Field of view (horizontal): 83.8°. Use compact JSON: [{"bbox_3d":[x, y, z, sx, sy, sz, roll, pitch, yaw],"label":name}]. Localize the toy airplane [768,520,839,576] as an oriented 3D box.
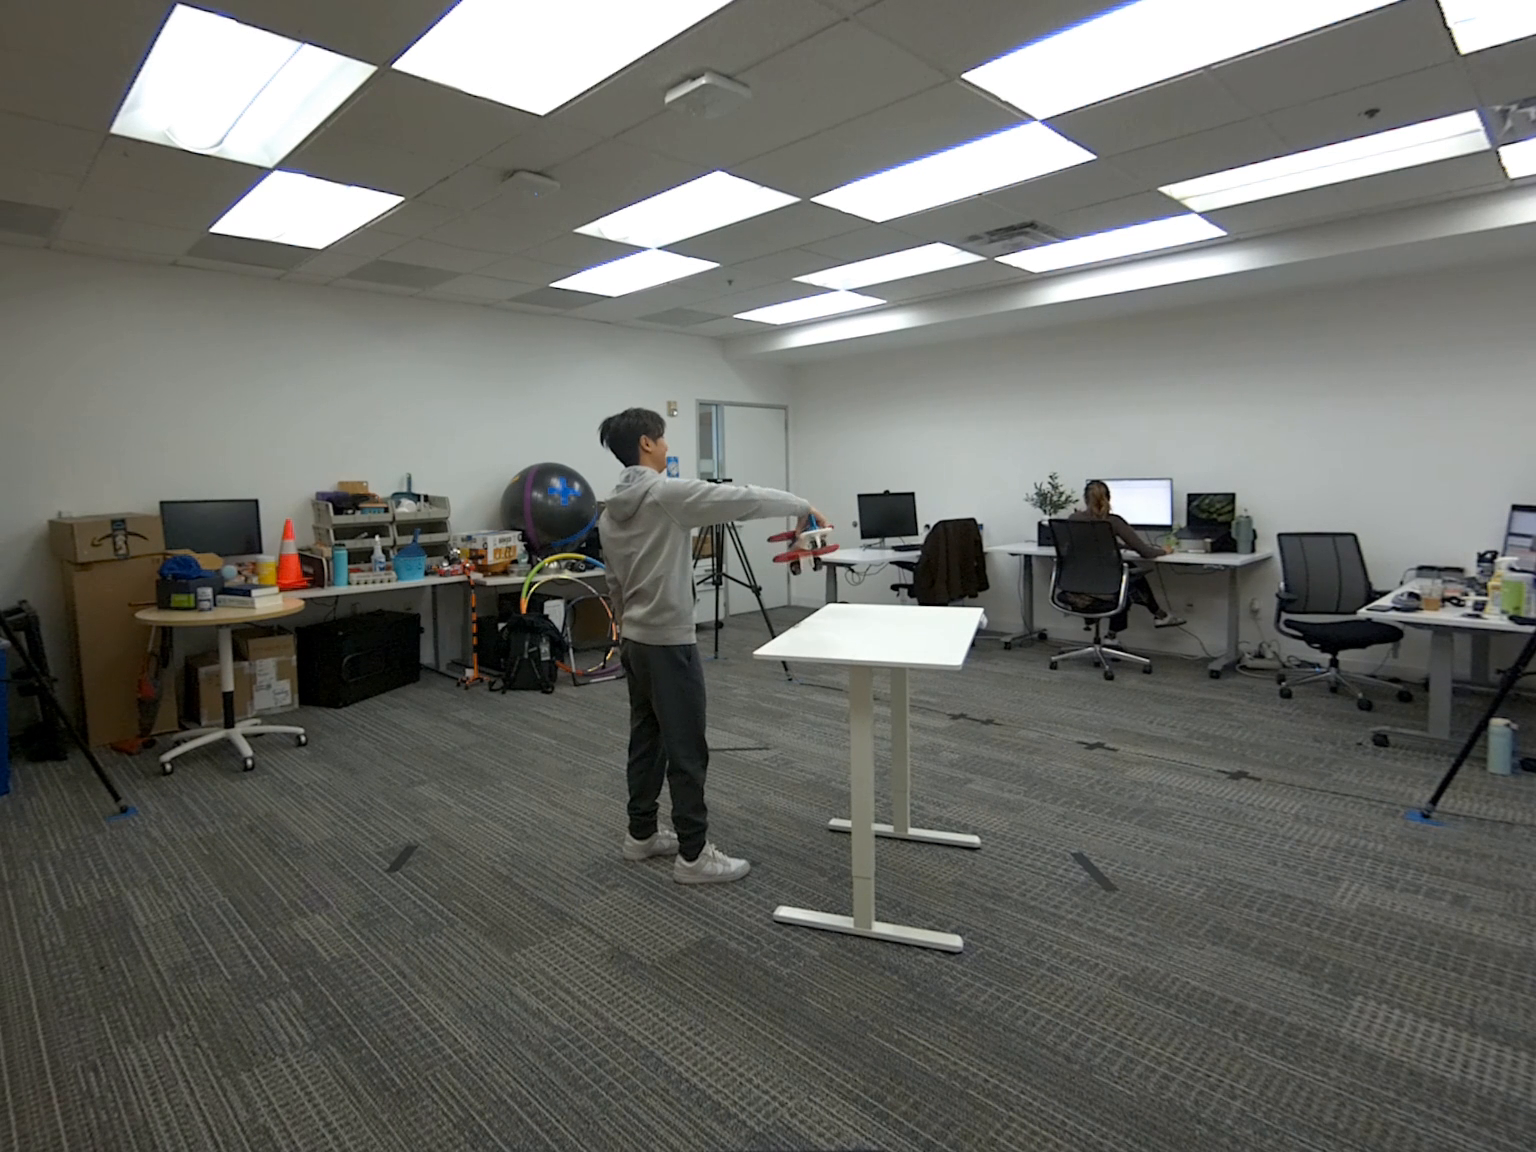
[{"bbox_3d":[0.157,-0.128,3.116,0.243,0.160,0.260,5,-32,-41],"label":"toy airplane"}]
